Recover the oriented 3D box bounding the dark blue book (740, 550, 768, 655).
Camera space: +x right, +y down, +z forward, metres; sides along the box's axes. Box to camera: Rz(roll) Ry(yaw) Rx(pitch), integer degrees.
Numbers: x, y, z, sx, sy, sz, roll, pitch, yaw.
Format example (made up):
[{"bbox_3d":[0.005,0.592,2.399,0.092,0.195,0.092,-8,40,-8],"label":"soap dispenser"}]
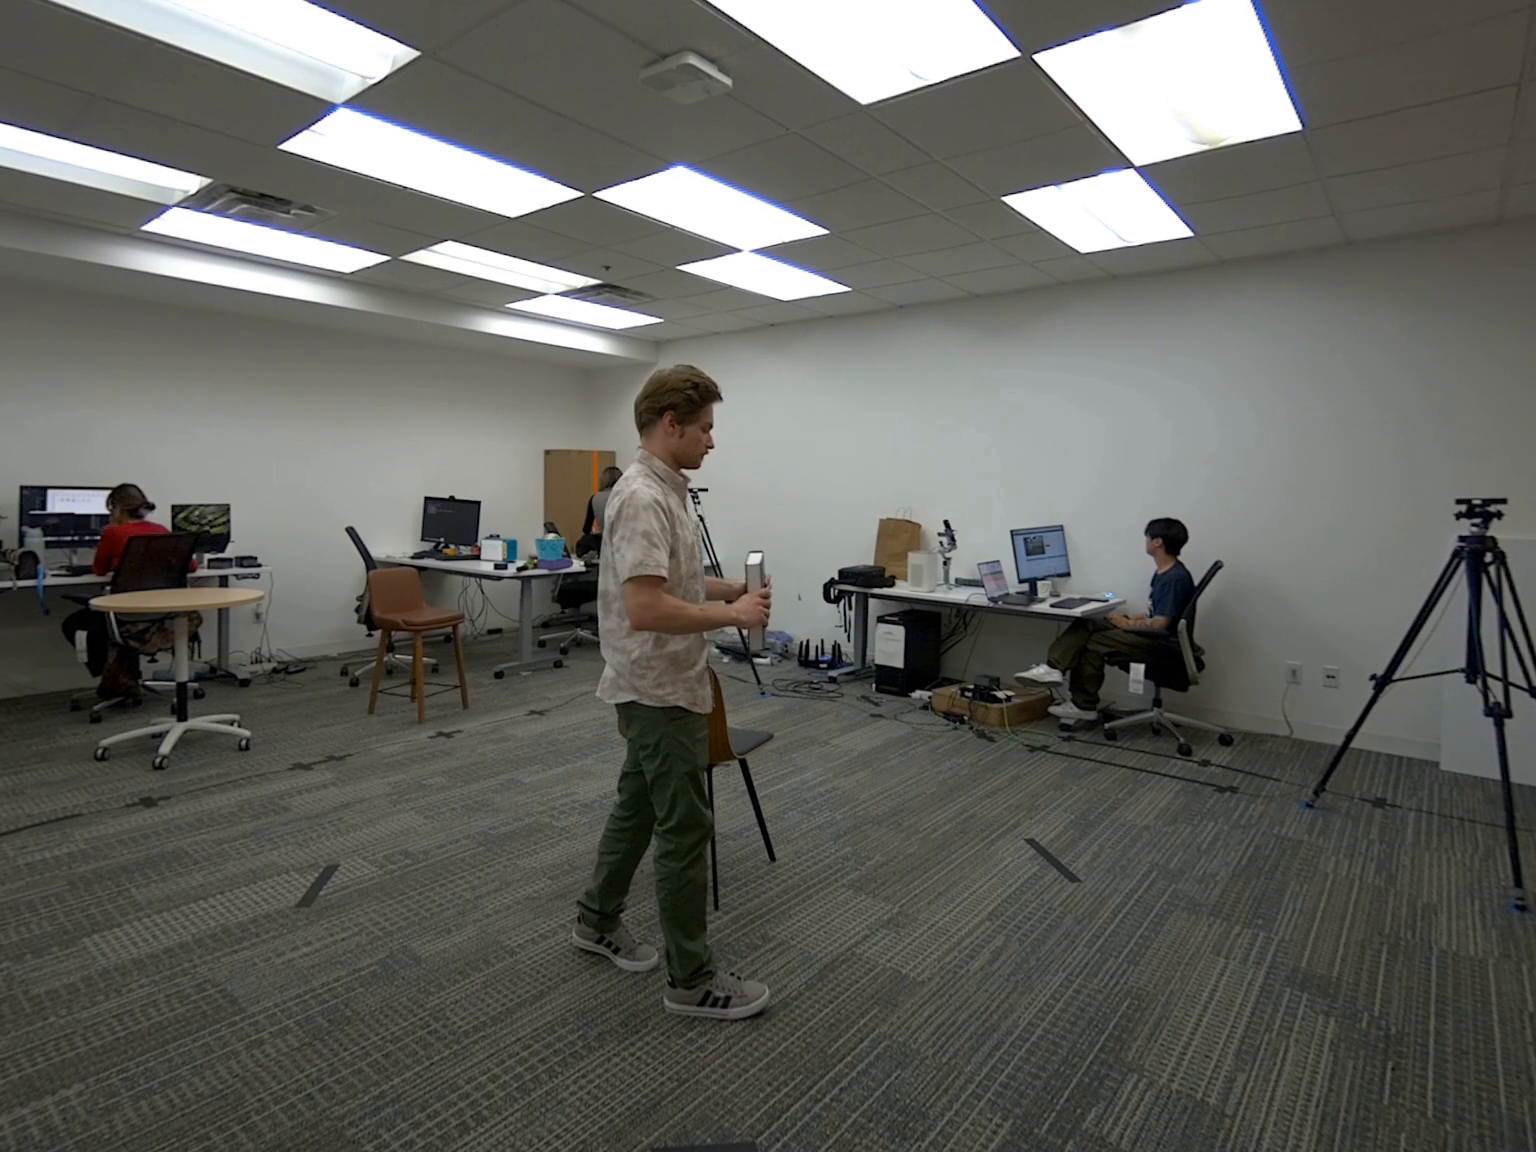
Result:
[{"bbox_3d":[-0.042,0.065,2.315,0.045,0.244,0.164,-2,6,1],"label":"dark blue book"}]
